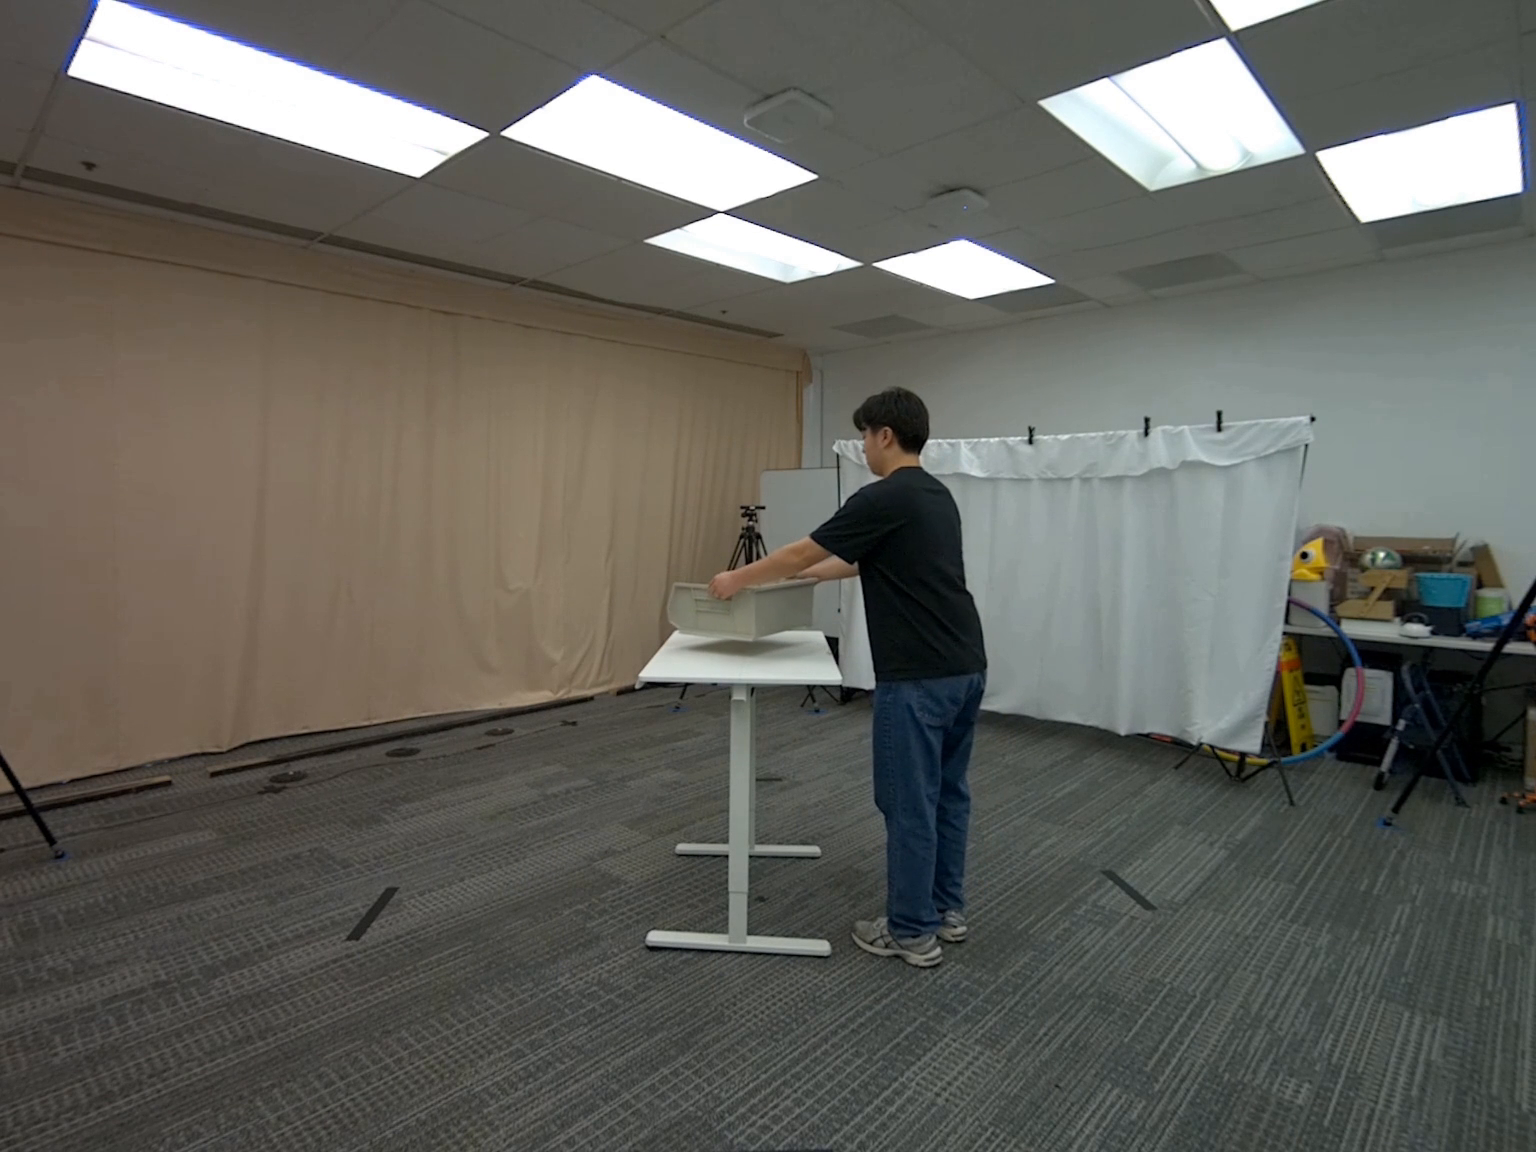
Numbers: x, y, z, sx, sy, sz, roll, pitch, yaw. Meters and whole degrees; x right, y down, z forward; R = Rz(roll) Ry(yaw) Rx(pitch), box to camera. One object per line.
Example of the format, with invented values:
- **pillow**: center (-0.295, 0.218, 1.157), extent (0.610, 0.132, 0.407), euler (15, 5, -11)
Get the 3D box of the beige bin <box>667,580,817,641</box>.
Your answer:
- **beige bin**: center (-0.085, 0.107, 3.047), extent (0.389, 0.188, 0.410), euler (5, 7, 35)
